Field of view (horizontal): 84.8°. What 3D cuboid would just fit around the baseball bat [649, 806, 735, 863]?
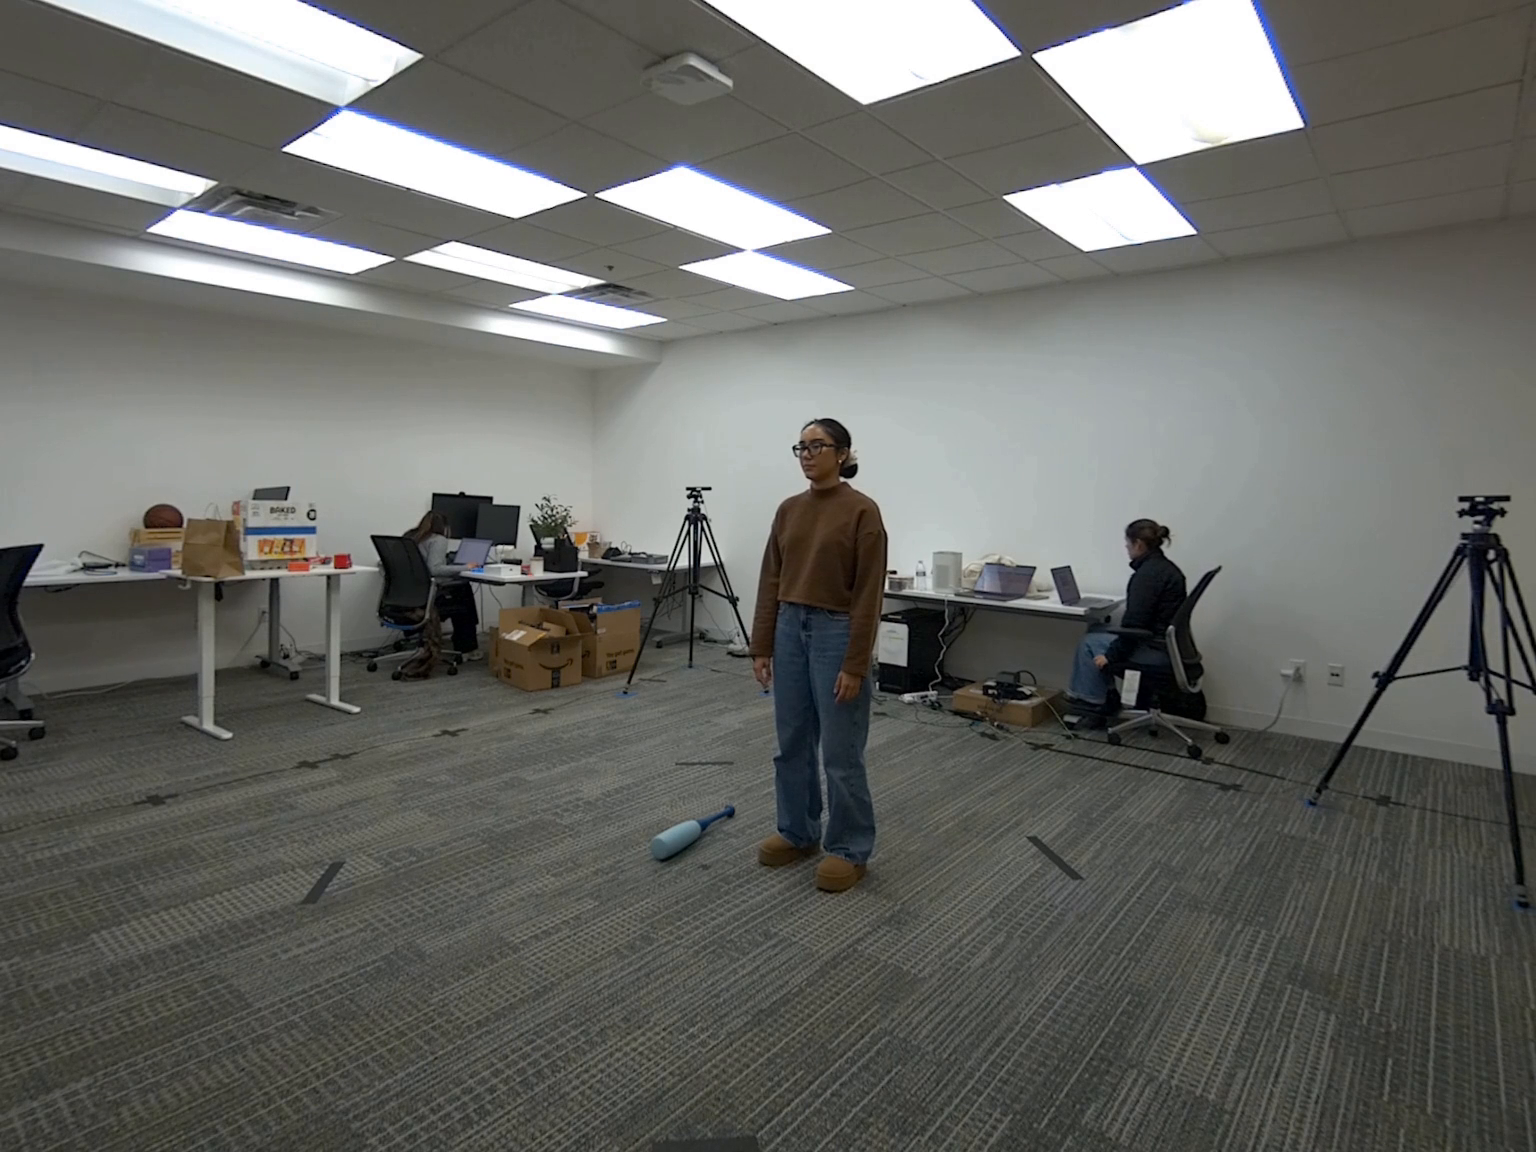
[{"bbox_3d":[-0.296,1.003,3.383,0.091,0.089,0.528,3,3,29],"label":"baseball bat"}]
